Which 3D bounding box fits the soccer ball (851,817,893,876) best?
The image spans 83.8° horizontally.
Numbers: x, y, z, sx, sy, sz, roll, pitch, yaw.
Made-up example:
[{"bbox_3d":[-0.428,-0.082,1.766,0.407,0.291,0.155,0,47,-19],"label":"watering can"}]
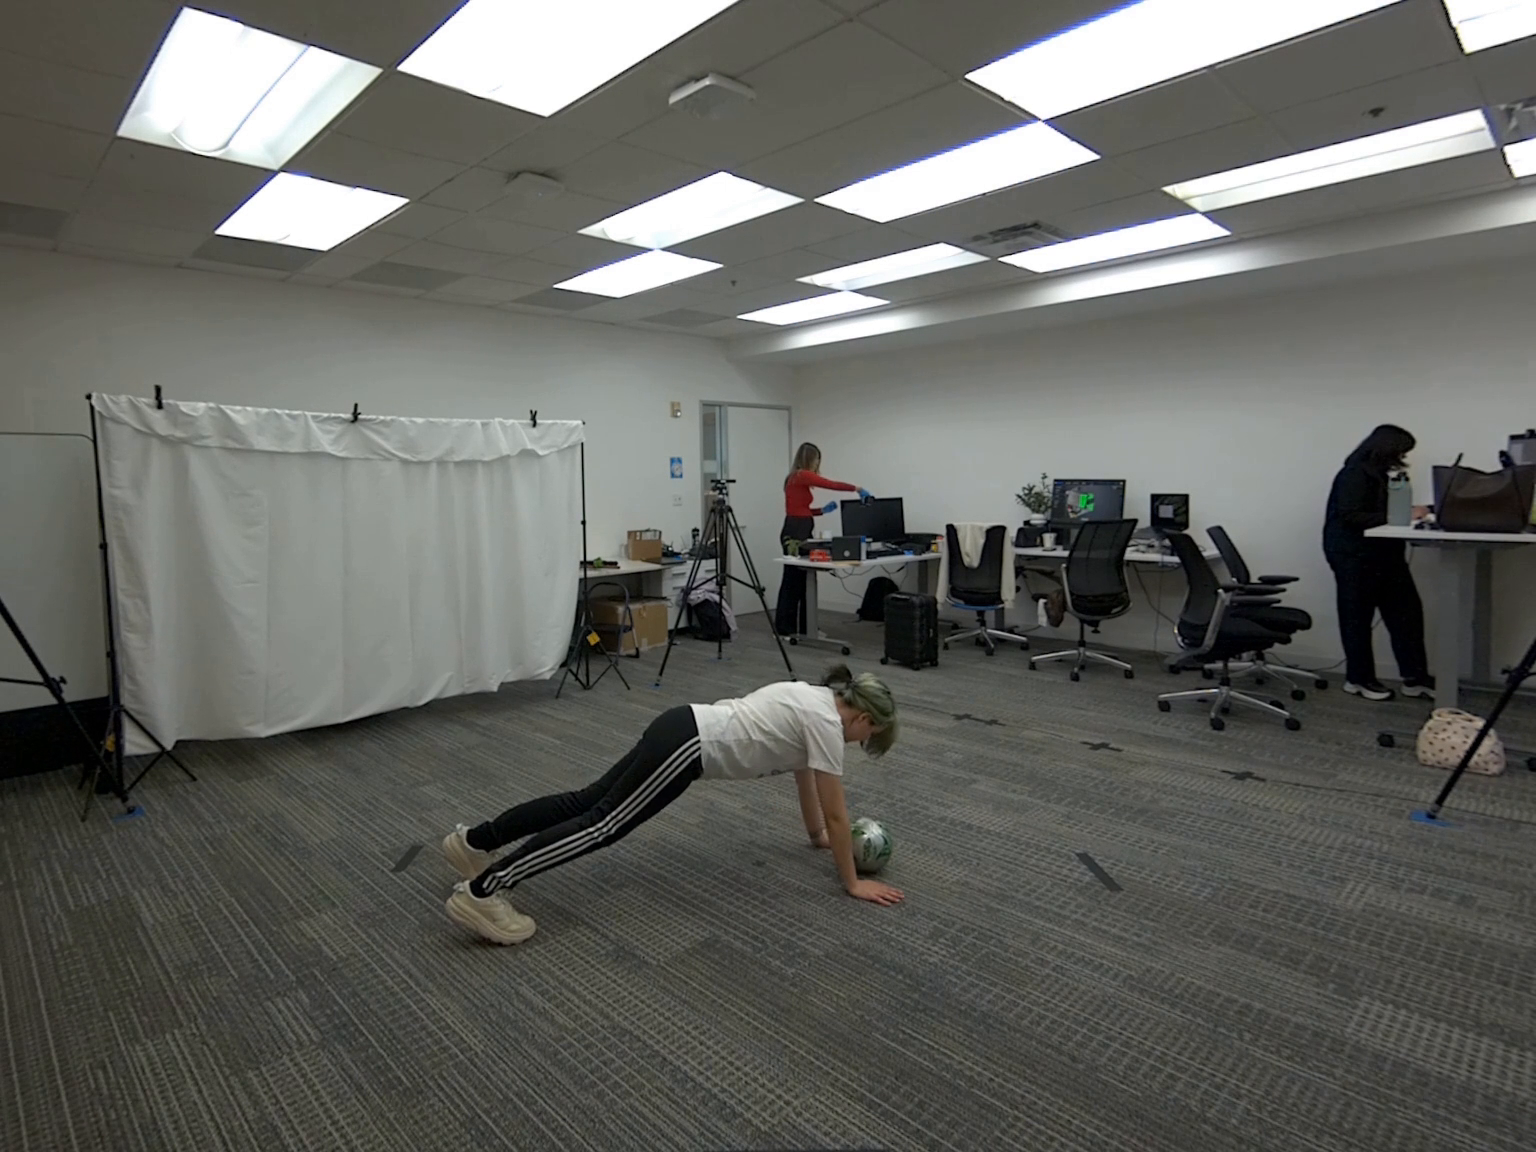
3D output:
[{"bbox_3d":[0.352,0.954,3.037,0.187,0.187,0.188,-1,5,-2],"label":"soccer ball"}]
